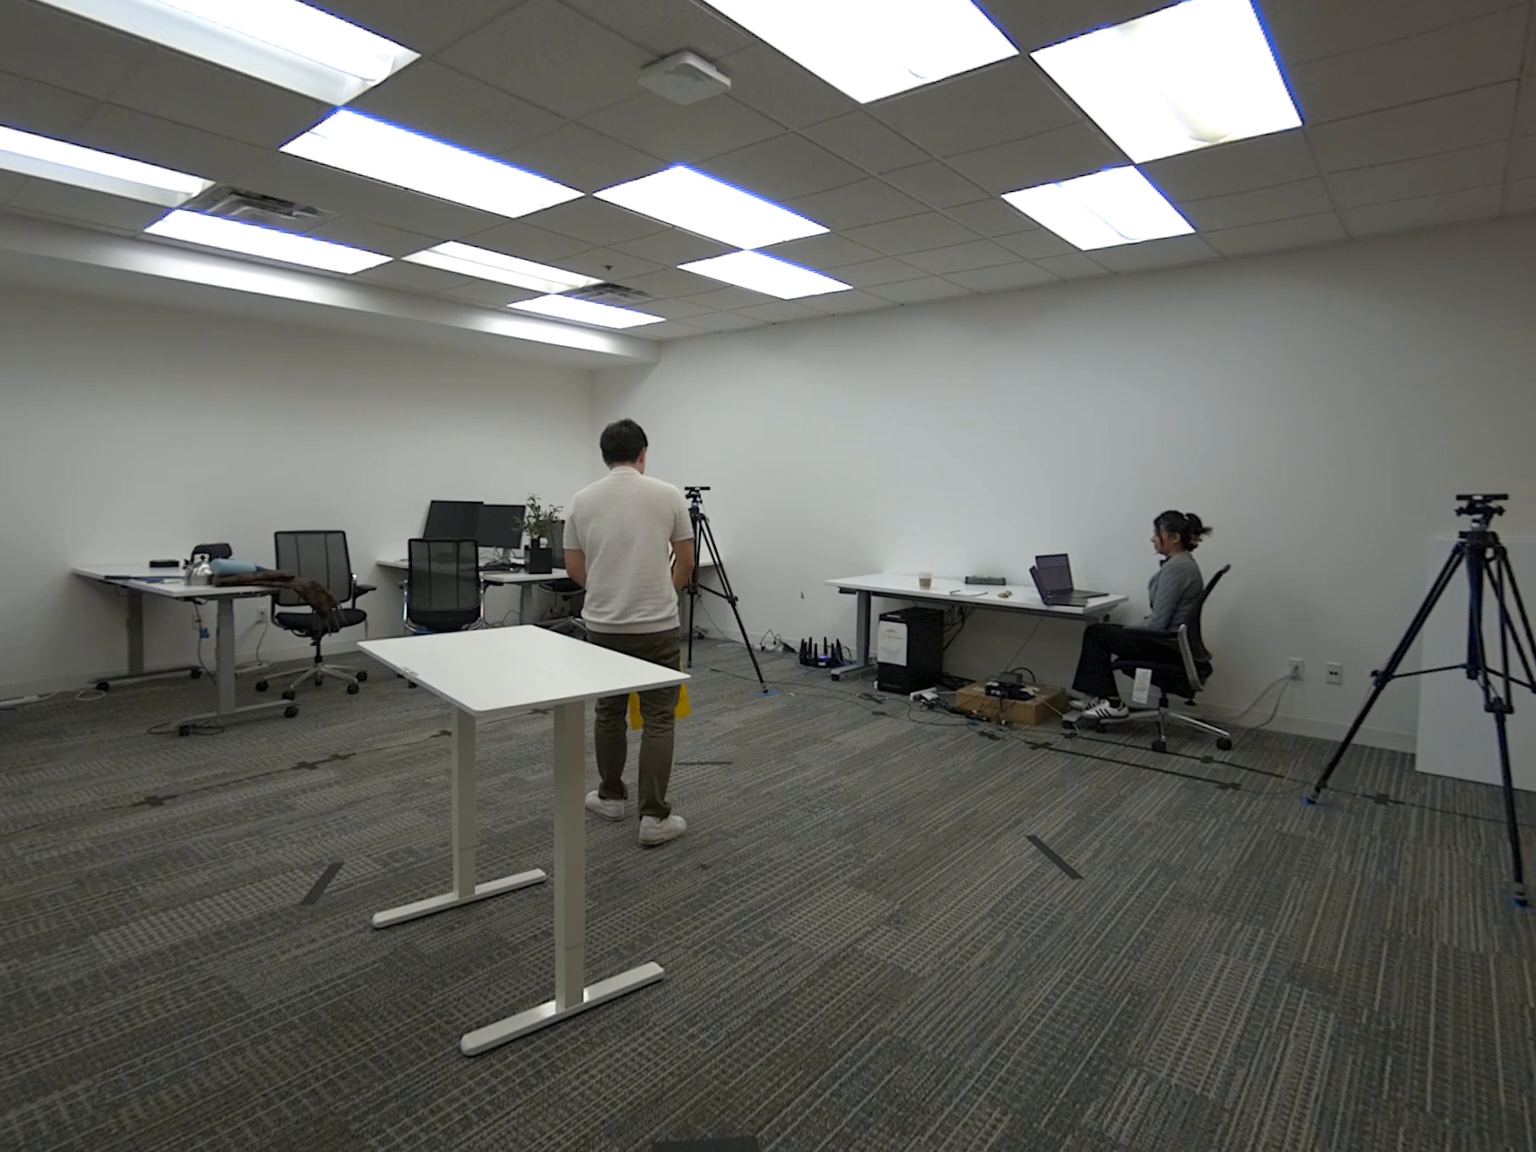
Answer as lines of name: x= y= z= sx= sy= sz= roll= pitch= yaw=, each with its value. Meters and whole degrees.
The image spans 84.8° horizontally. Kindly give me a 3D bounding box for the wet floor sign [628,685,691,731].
wet floor sign: x=-0.559 y=0.307 z=3.805 sx=0.277 sy=0.633 sz=0.301 roll=-12 pitch=24 yaw=-22
